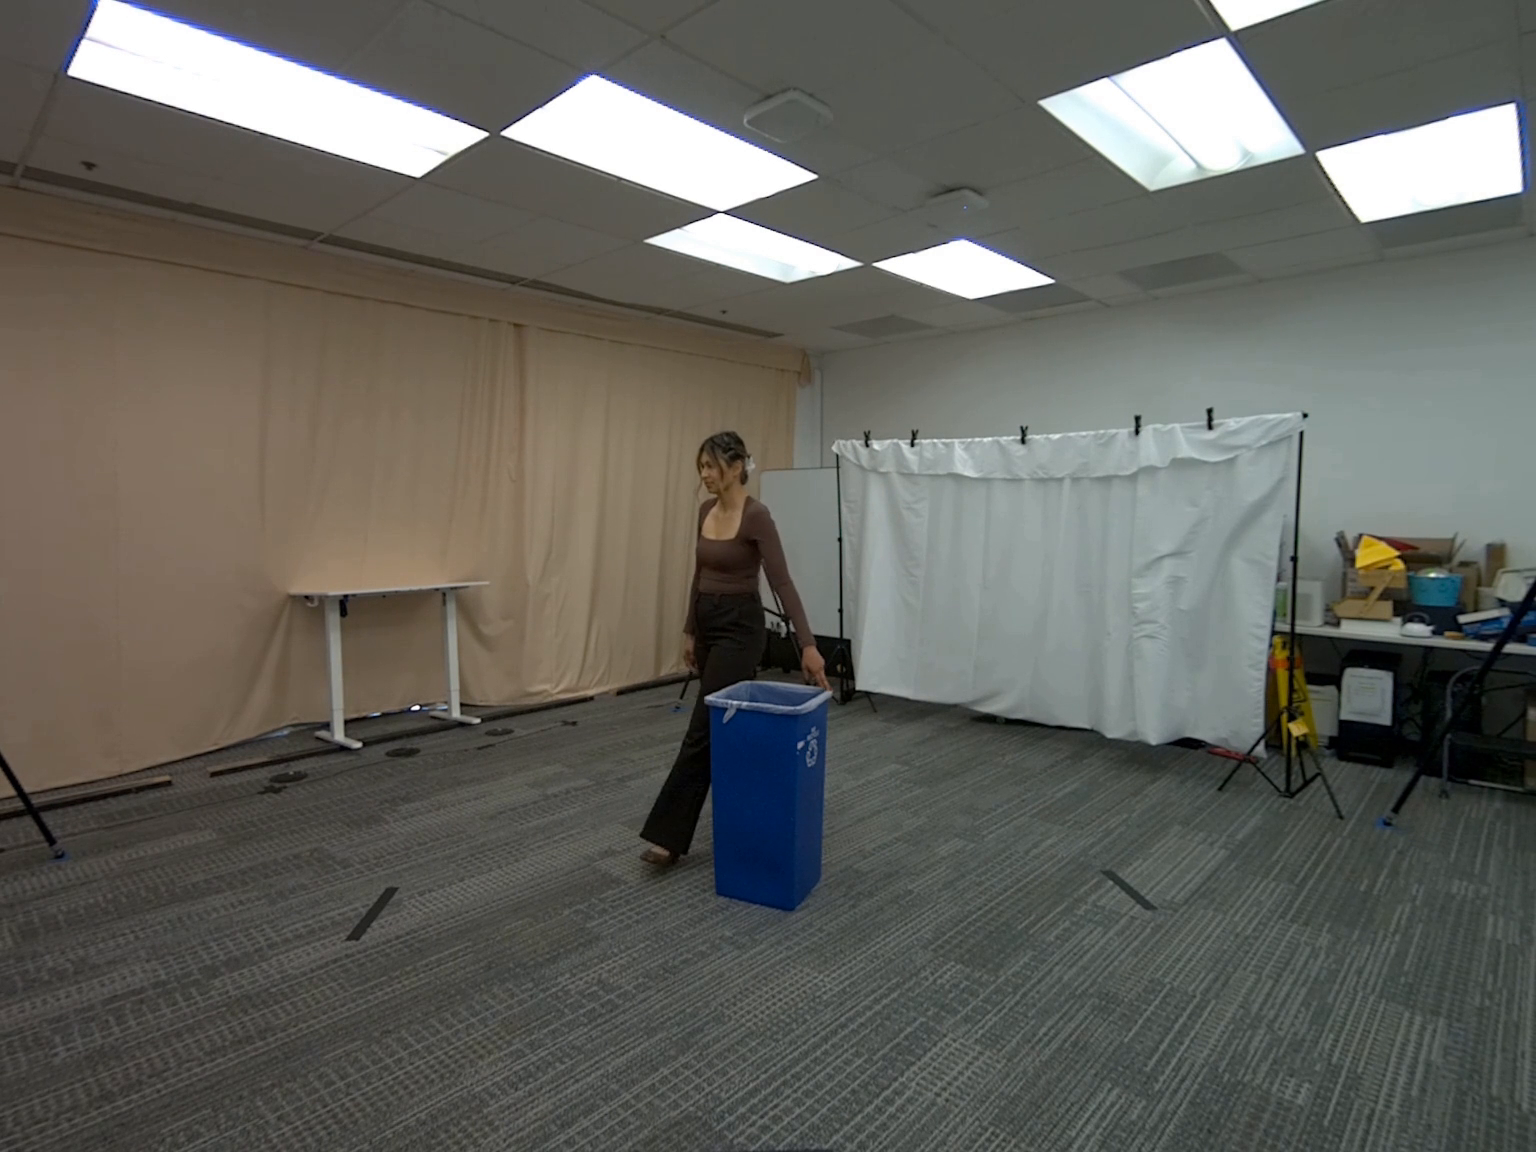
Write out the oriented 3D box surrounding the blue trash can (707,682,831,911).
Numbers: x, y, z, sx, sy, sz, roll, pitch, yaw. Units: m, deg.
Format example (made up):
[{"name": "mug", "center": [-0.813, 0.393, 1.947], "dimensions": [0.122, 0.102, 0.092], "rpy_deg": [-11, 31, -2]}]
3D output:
[{"name": "blue trash can", "center": [0.012, 0.777, 3.070], "dimensions": [0.388, 0.712, 0.365], "rpy_deg": [2, 4, 25]}]
